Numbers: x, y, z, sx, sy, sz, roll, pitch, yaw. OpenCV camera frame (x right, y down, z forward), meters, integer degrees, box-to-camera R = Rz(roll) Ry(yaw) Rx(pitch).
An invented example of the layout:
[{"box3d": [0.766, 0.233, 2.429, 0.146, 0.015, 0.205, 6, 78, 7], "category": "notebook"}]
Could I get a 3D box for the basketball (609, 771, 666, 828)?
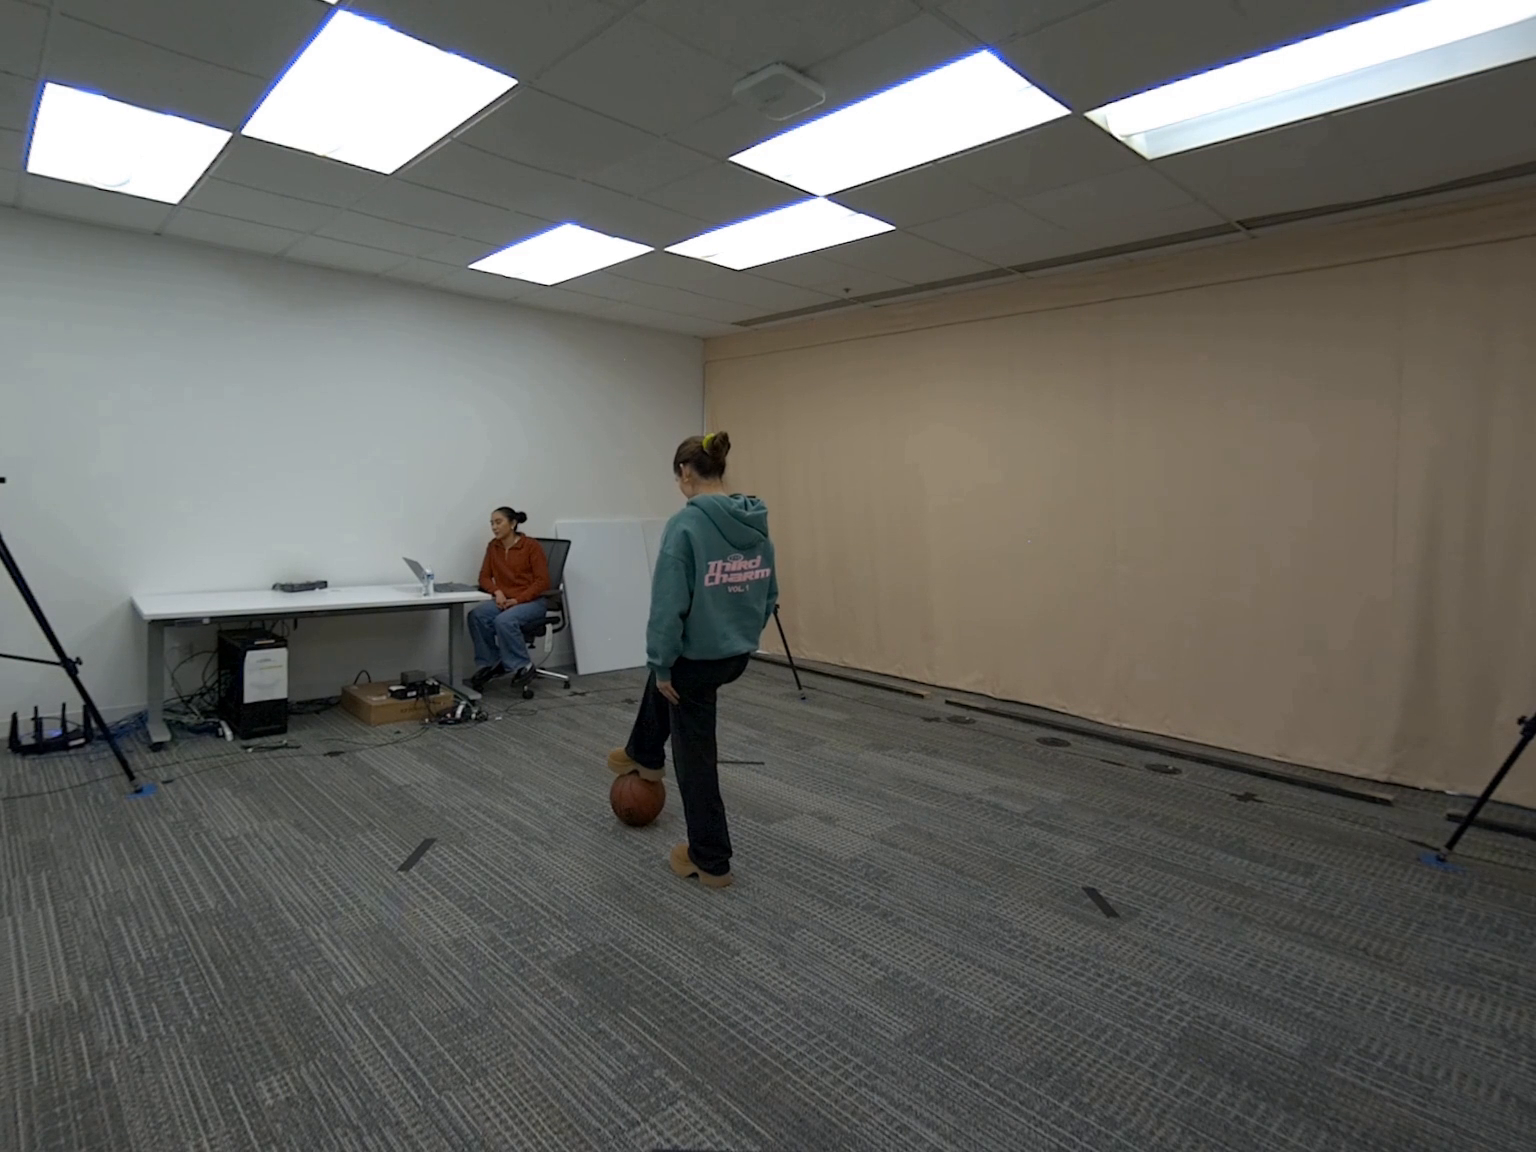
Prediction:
[{"box3d": [-0.557, 0.935, 3.571, 0.236, 0.235, 0.237, 1, 4, -1], "category": "basketball"}]
